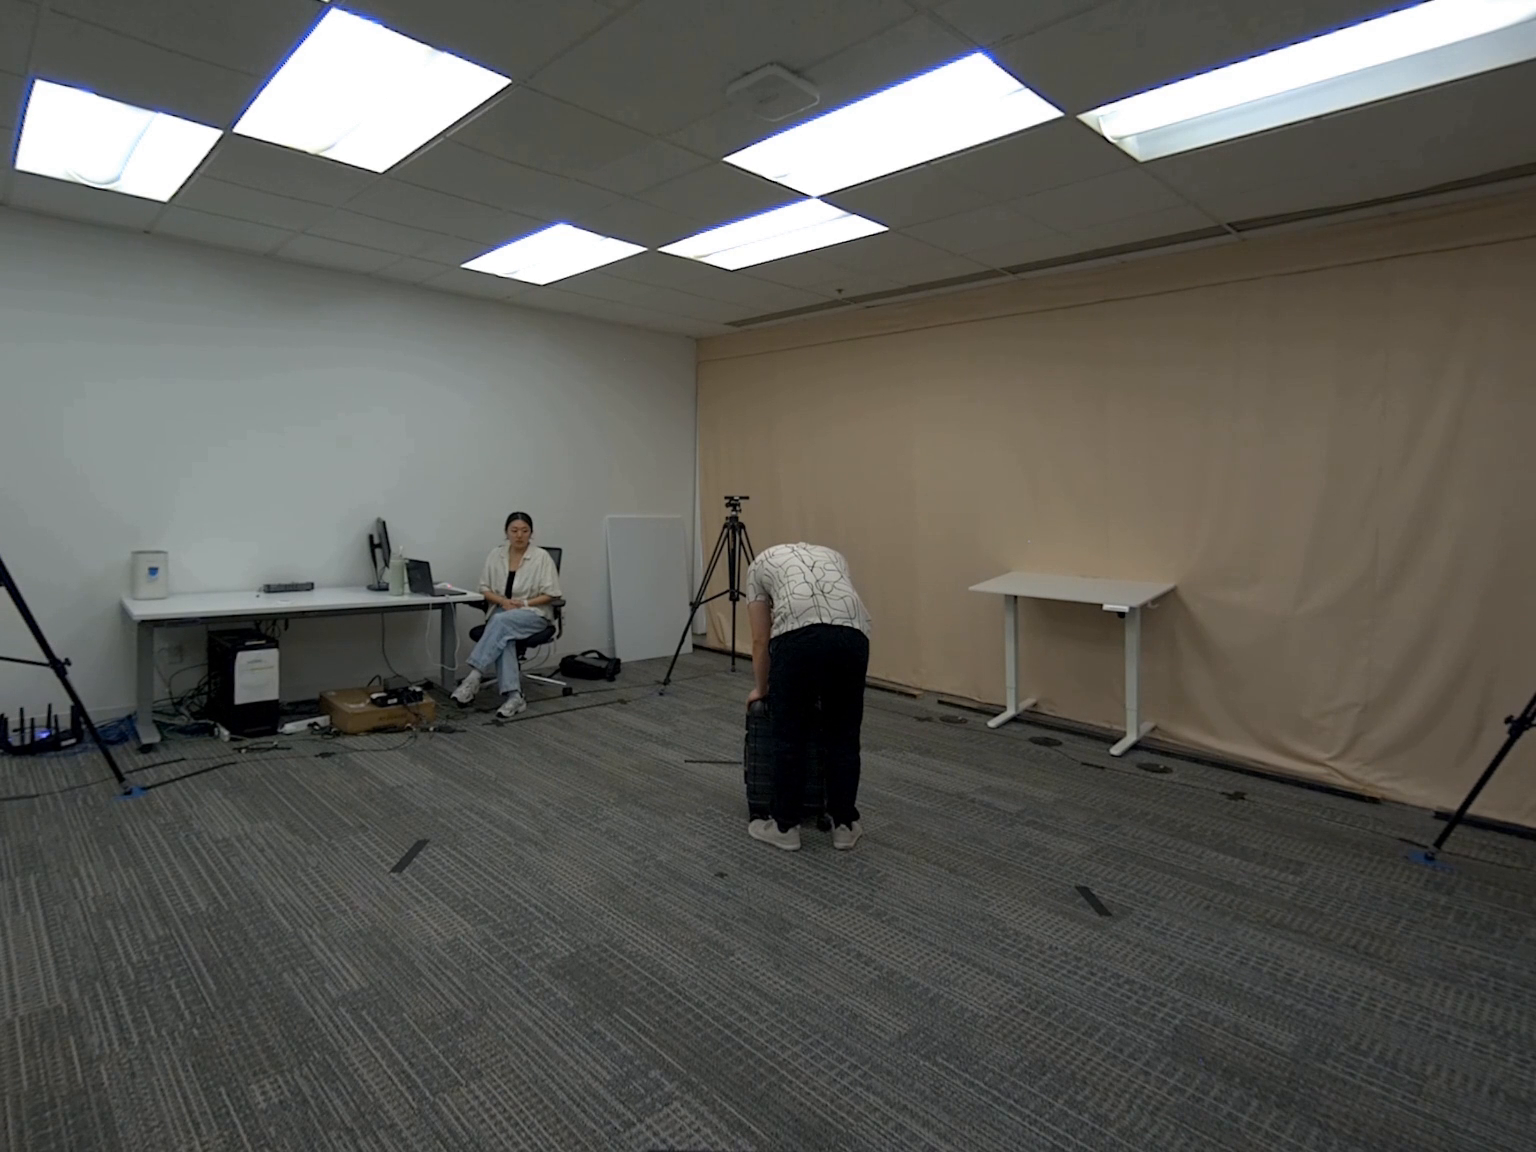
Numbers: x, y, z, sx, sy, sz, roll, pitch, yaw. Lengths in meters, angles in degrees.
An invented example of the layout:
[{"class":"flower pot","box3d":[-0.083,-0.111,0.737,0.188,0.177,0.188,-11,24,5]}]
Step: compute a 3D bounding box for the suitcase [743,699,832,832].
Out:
[{"class":"suitcase","box3d":[0.082,0.786,3.687,0.377,0.549,0.247,1,1,5]}]
